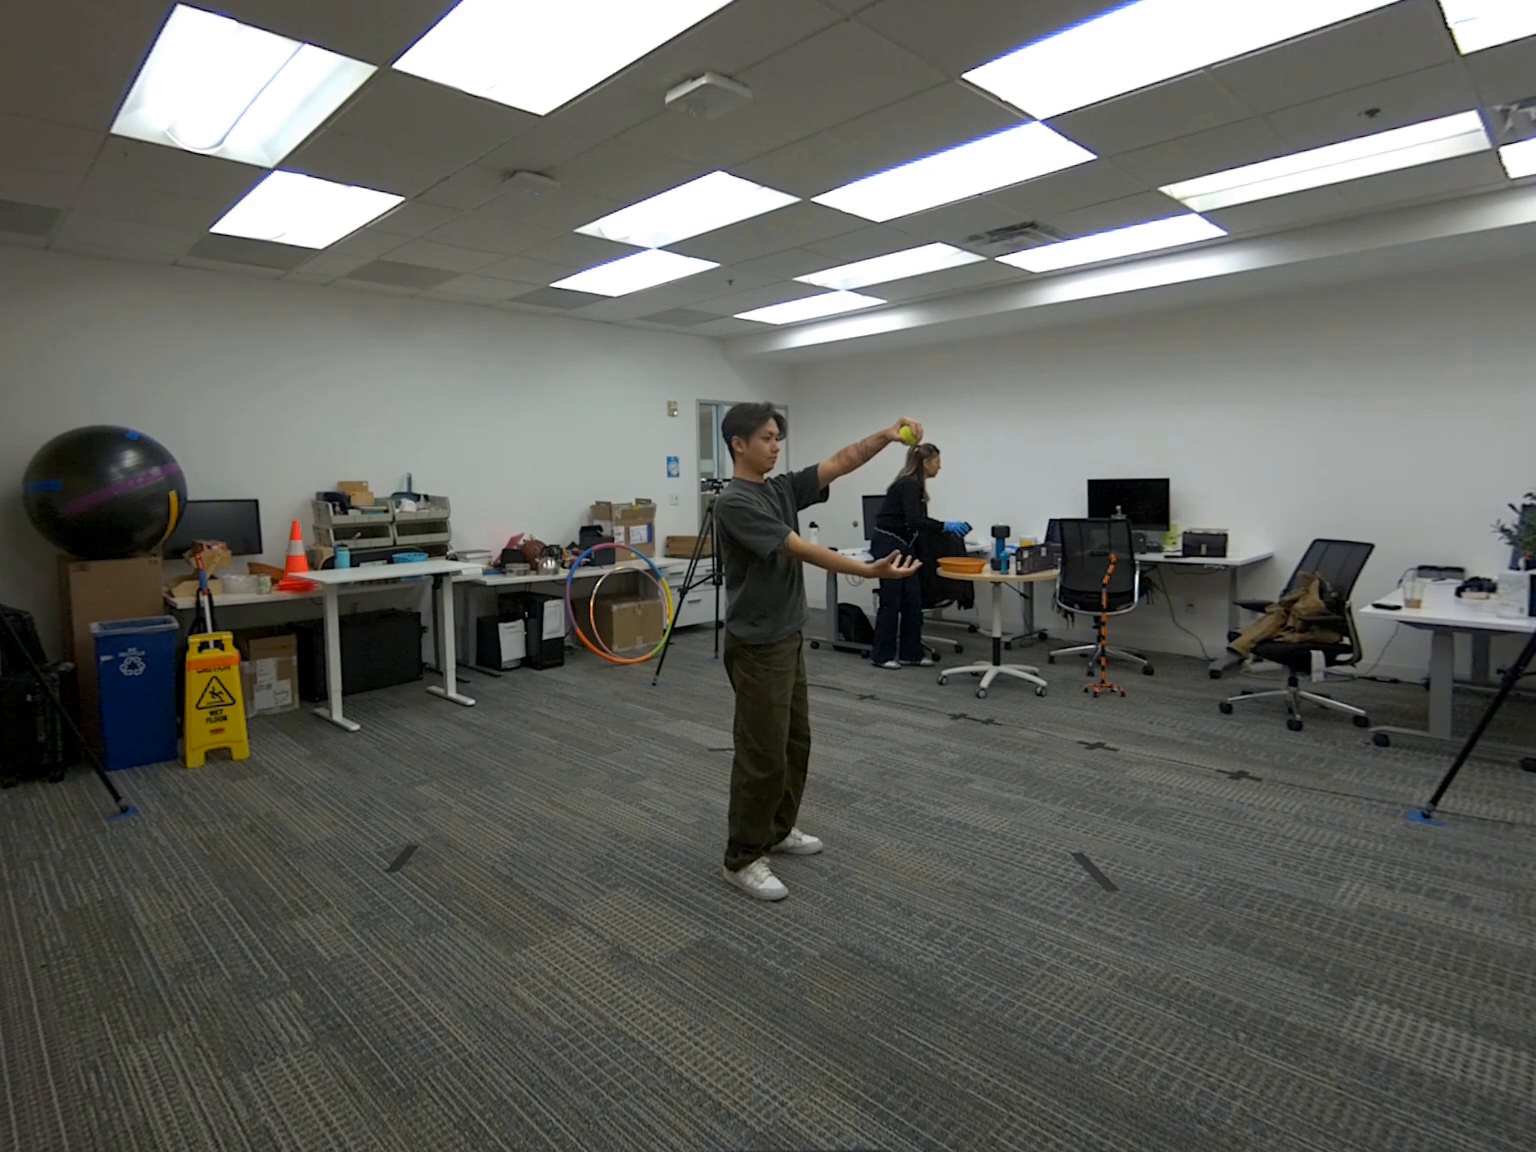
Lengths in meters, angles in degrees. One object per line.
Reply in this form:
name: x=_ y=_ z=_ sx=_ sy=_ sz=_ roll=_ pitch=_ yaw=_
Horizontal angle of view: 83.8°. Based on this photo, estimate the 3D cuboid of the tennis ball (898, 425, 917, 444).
tennis ball: x=0.477 y=-0.499 z=2.830 sx=0.066 sy=0.066 sz=0.067 roll=-1 pitch=5 yaw=-2
